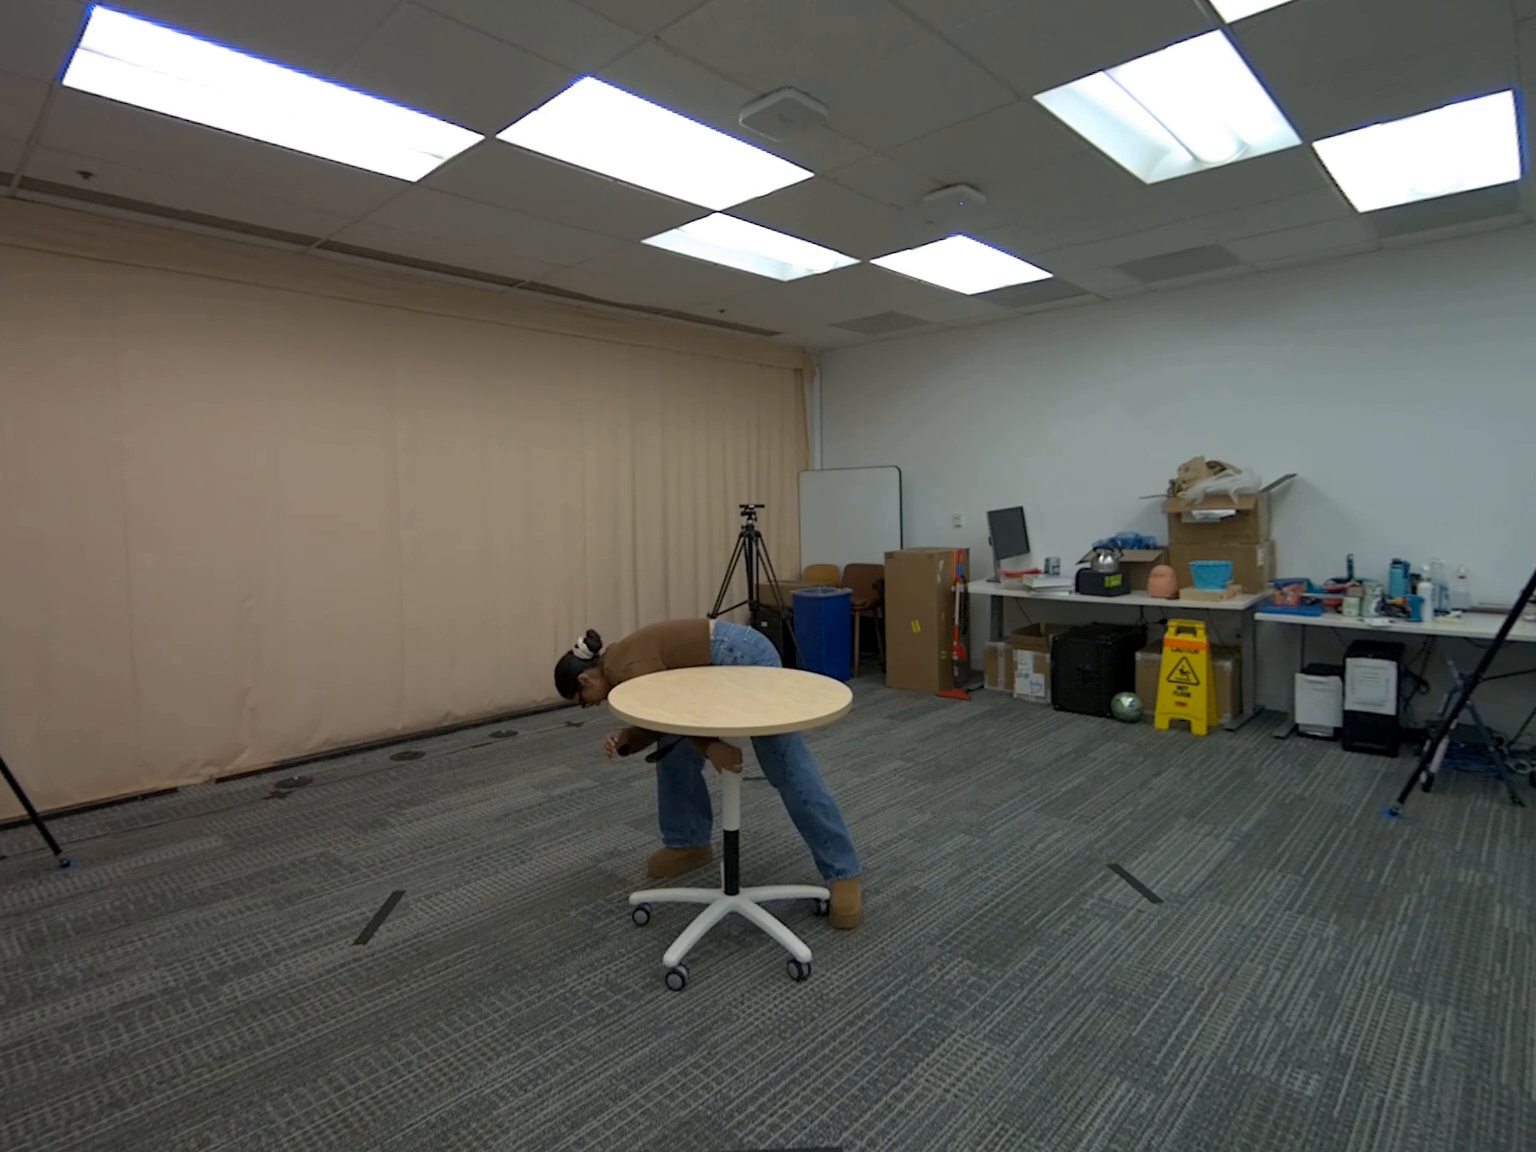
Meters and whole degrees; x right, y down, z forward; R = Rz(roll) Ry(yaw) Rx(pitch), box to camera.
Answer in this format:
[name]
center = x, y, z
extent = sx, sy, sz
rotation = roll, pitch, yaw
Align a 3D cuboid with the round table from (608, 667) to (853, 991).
[round table]
center = -0.119, 0.766, 2.682
extent = 0.763, 0.791, 0.767
rotation = 0, 5, -2
